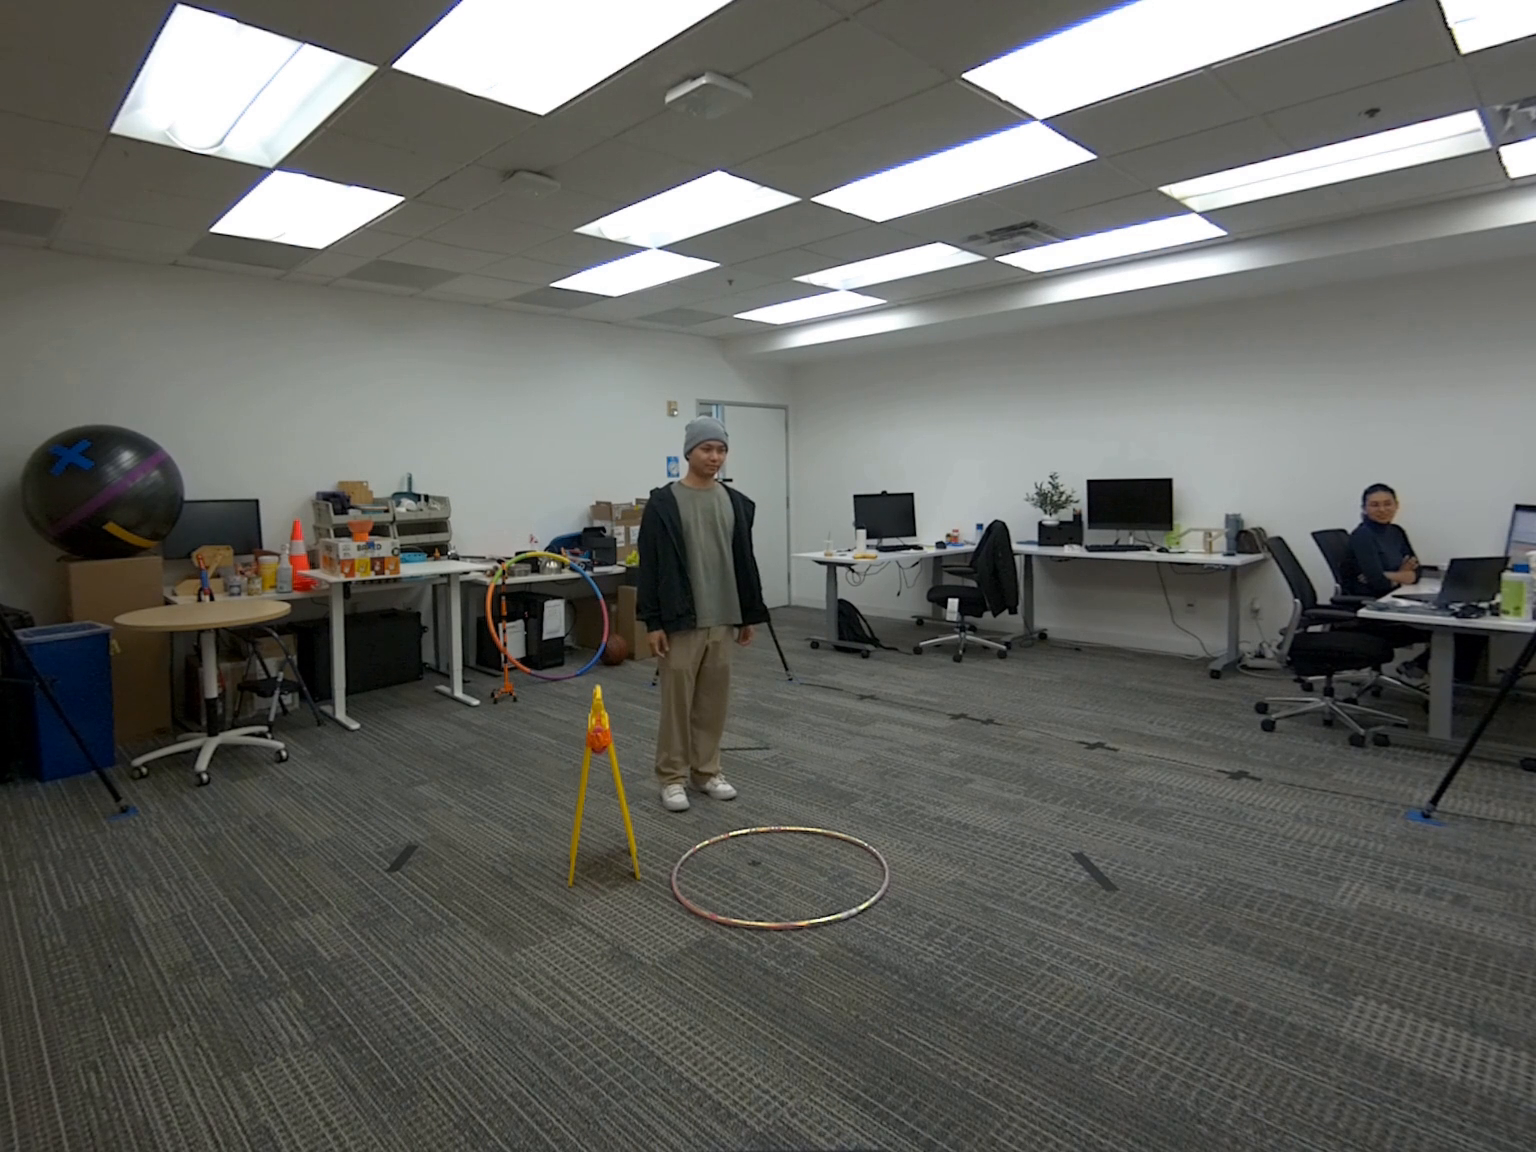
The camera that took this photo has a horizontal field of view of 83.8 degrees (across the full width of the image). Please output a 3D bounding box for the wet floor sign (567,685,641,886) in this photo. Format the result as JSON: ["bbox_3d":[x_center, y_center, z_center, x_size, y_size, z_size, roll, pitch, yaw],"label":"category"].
[{"bbox_3d":[-0.603,0.733,3.085,0.287,0.644,0.285,-2,3,-9],"label":"wet floor sign"}]
